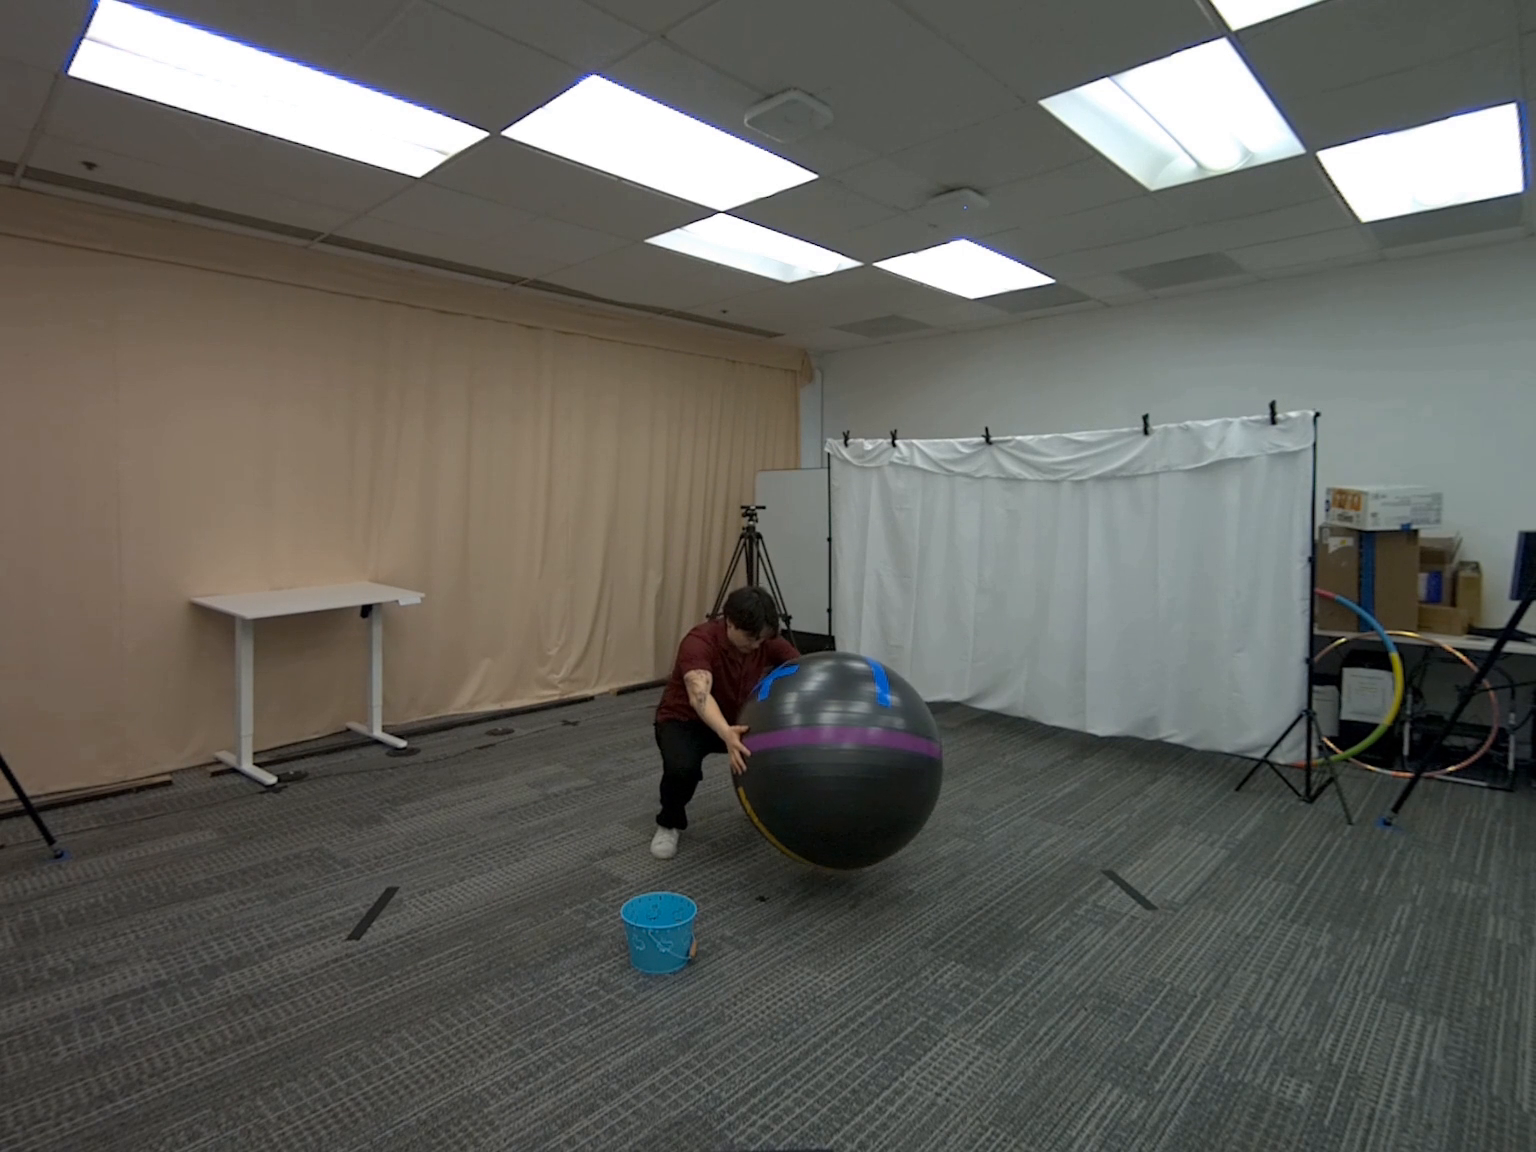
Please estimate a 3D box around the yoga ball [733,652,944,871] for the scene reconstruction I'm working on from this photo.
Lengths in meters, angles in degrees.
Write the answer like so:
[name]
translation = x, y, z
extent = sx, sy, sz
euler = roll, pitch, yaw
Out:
[yoga ball]
translation = 0.254, 0.659, 3.050
extent = 0.757, 0.756, 0.760
euler = 0, 4, -2
